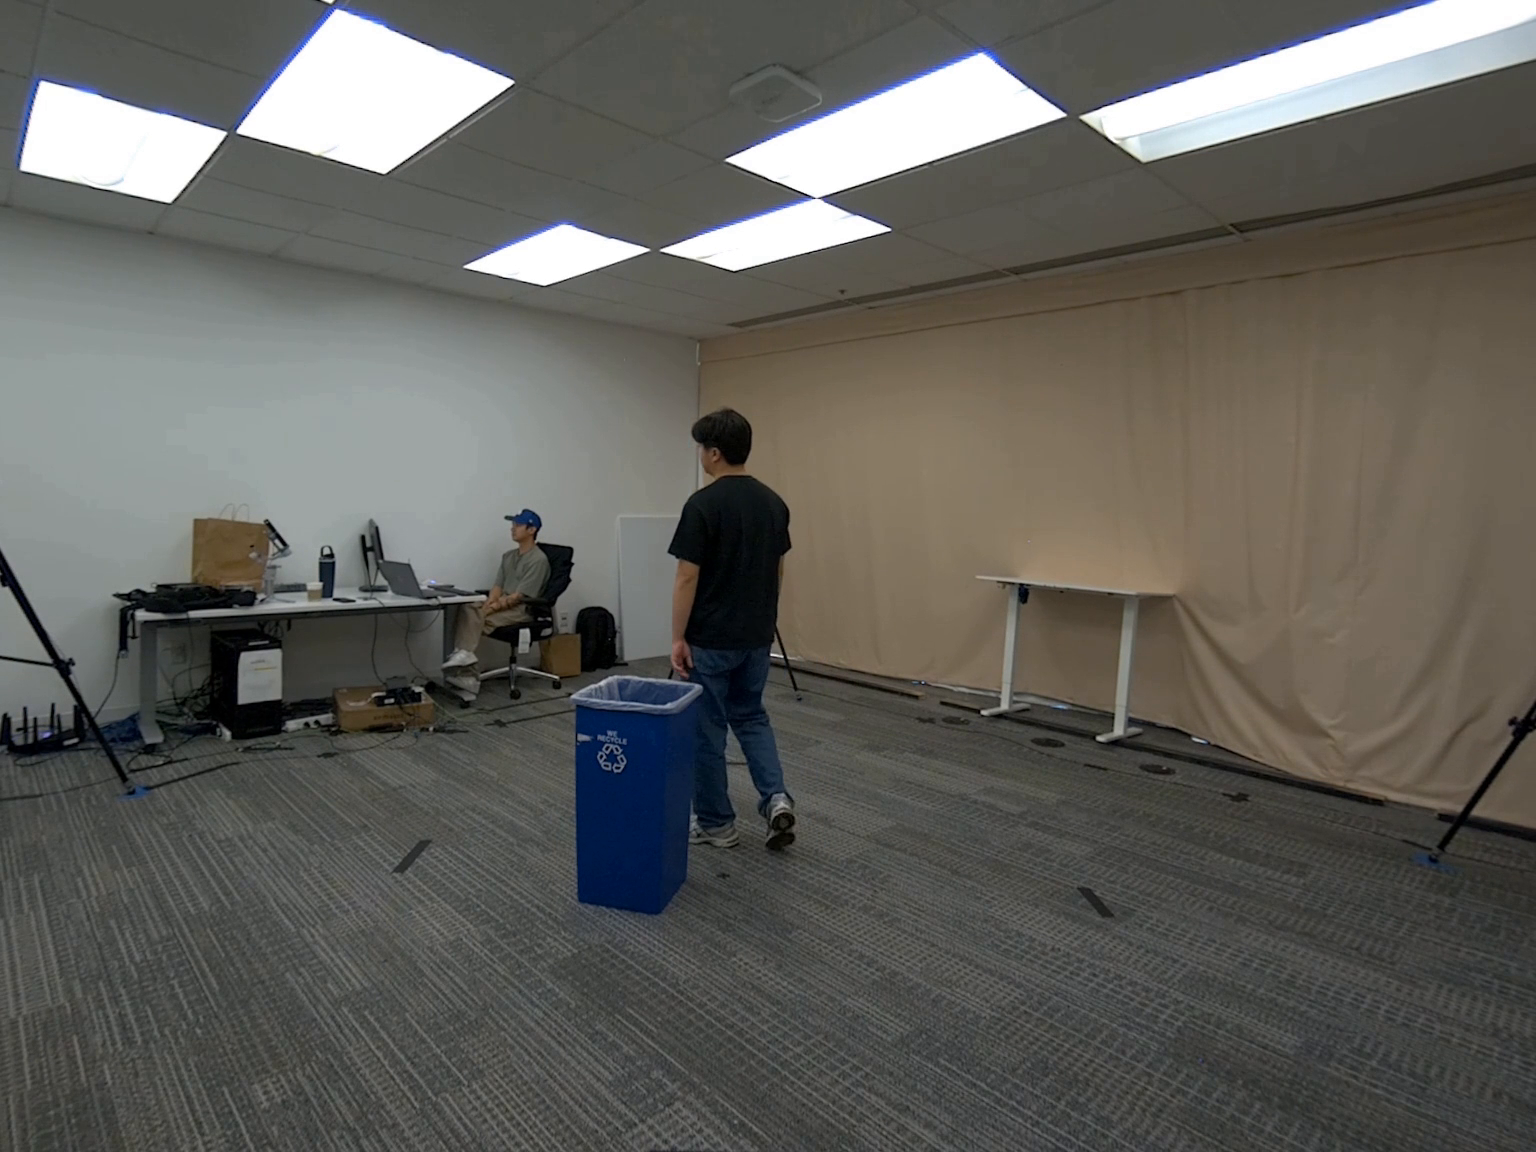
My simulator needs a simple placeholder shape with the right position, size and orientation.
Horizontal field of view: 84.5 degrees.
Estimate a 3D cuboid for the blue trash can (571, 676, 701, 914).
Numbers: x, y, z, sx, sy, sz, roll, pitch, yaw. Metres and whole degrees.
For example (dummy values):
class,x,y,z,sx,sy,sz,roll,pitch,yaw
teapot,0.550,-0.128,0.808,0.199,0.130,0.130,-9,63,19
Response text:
class,x,y,z,sx,sy,sz,roll,pitch,yaw
blue trash can,-0.473,0.755,2.954,0.379,0.712,0.374,4,4,14
